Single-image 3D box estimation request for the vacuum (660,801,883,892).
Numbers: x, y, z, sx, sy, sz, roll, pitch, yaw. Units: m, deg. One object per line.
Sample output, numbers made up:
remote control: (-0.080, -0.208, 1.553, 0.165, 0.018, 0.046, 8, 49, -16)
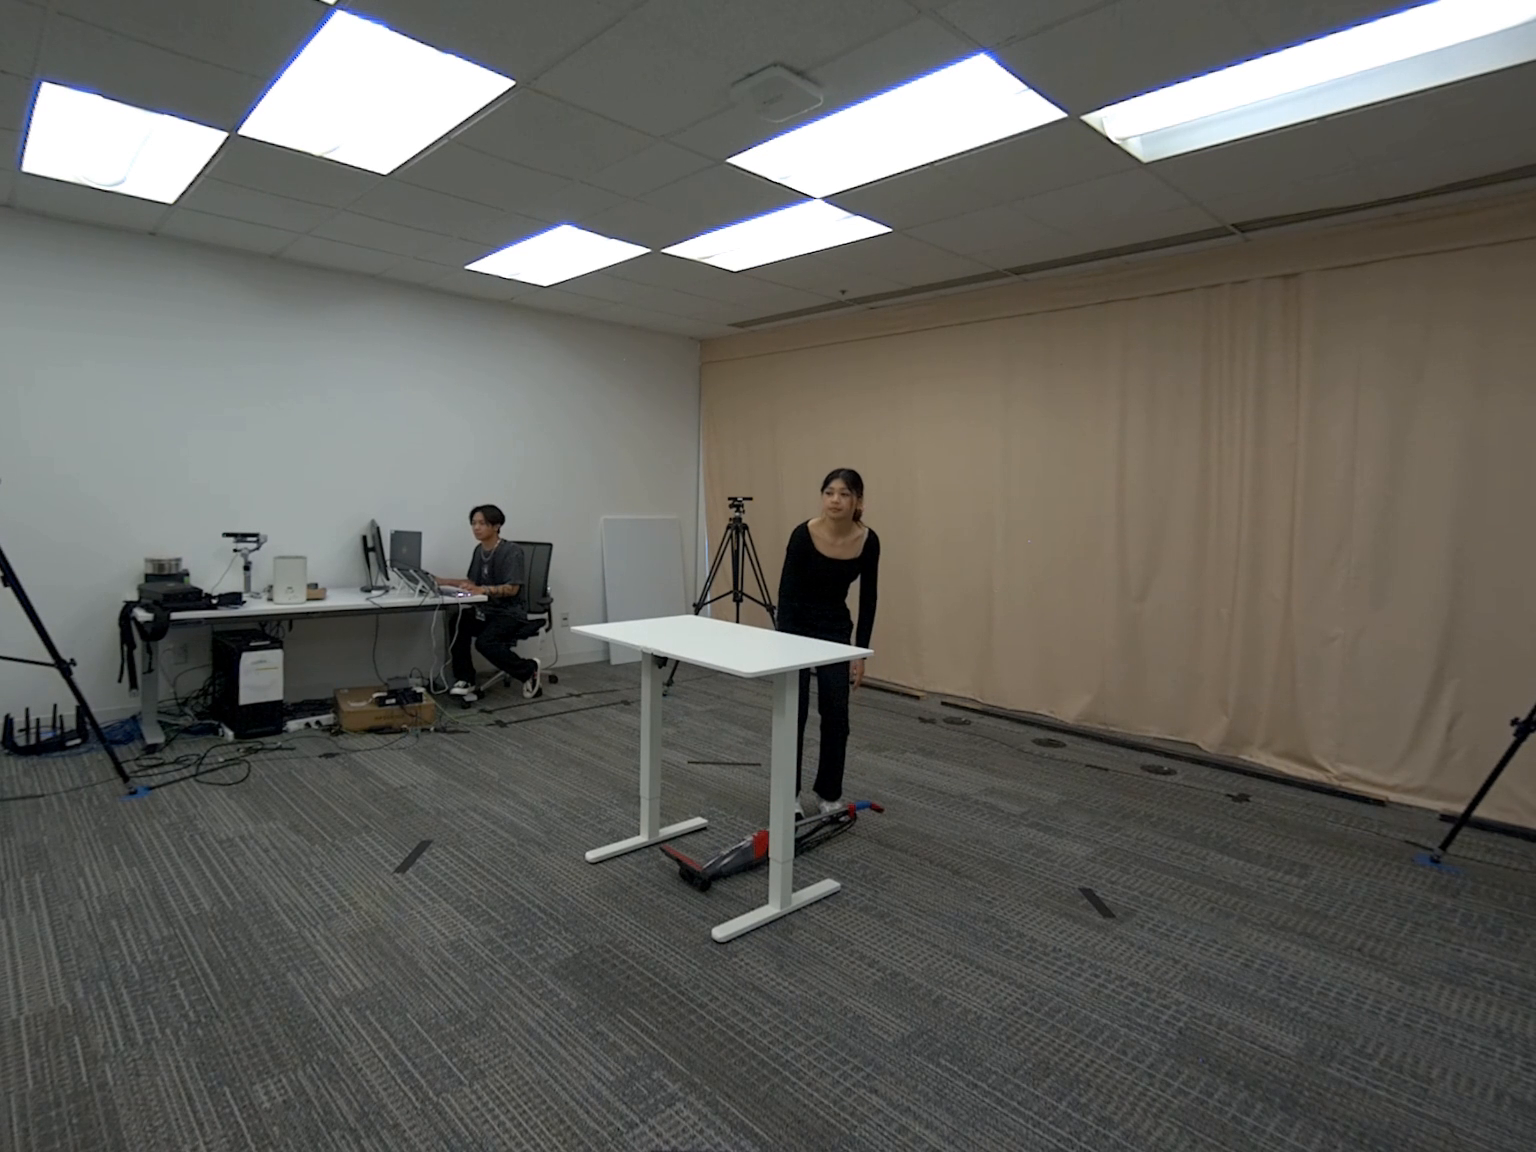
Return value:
vacuum: (0.094, 1.041, 3.330, 1.025, 0.143, 0.259, -2, 6, -40)
